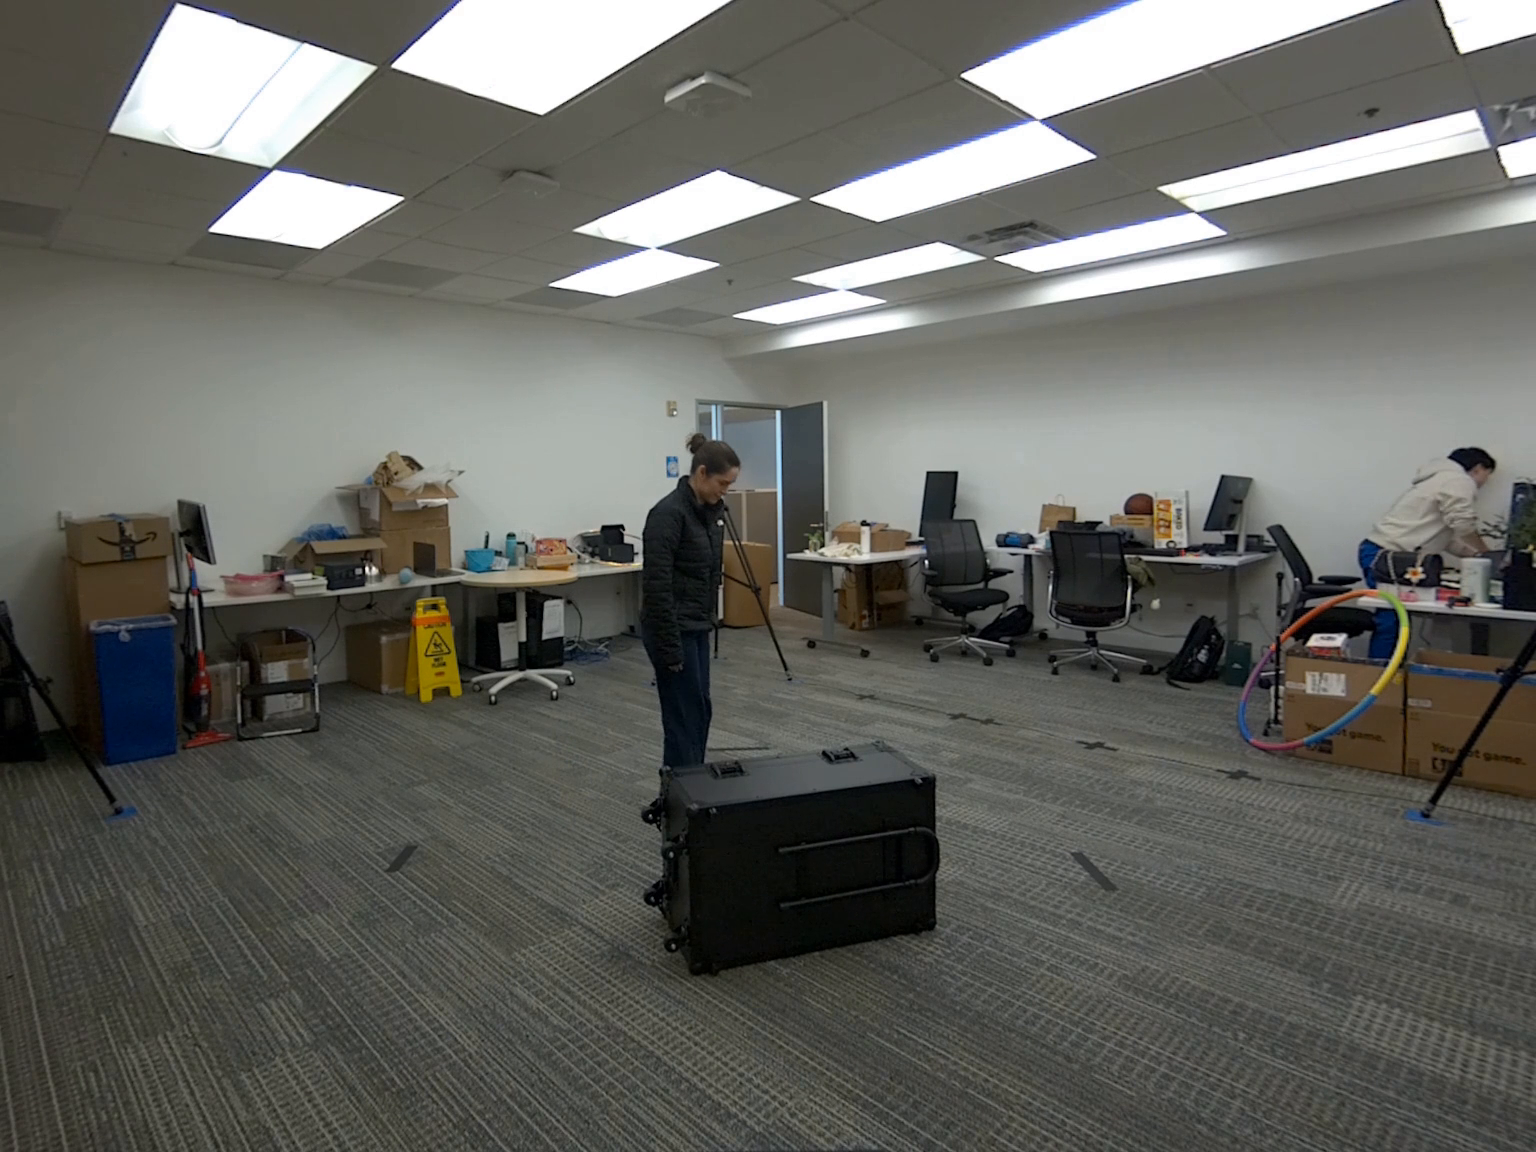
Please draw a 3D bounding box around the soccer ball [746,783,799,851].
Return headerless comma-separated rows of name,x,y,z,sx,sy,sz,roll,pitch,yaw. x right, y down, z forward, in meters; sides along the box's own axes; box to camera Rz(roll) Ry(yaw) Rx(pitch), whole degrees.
soccer ball,0.013,0.926,3.306,0.187,0.187,0.188,-1,5,-2
